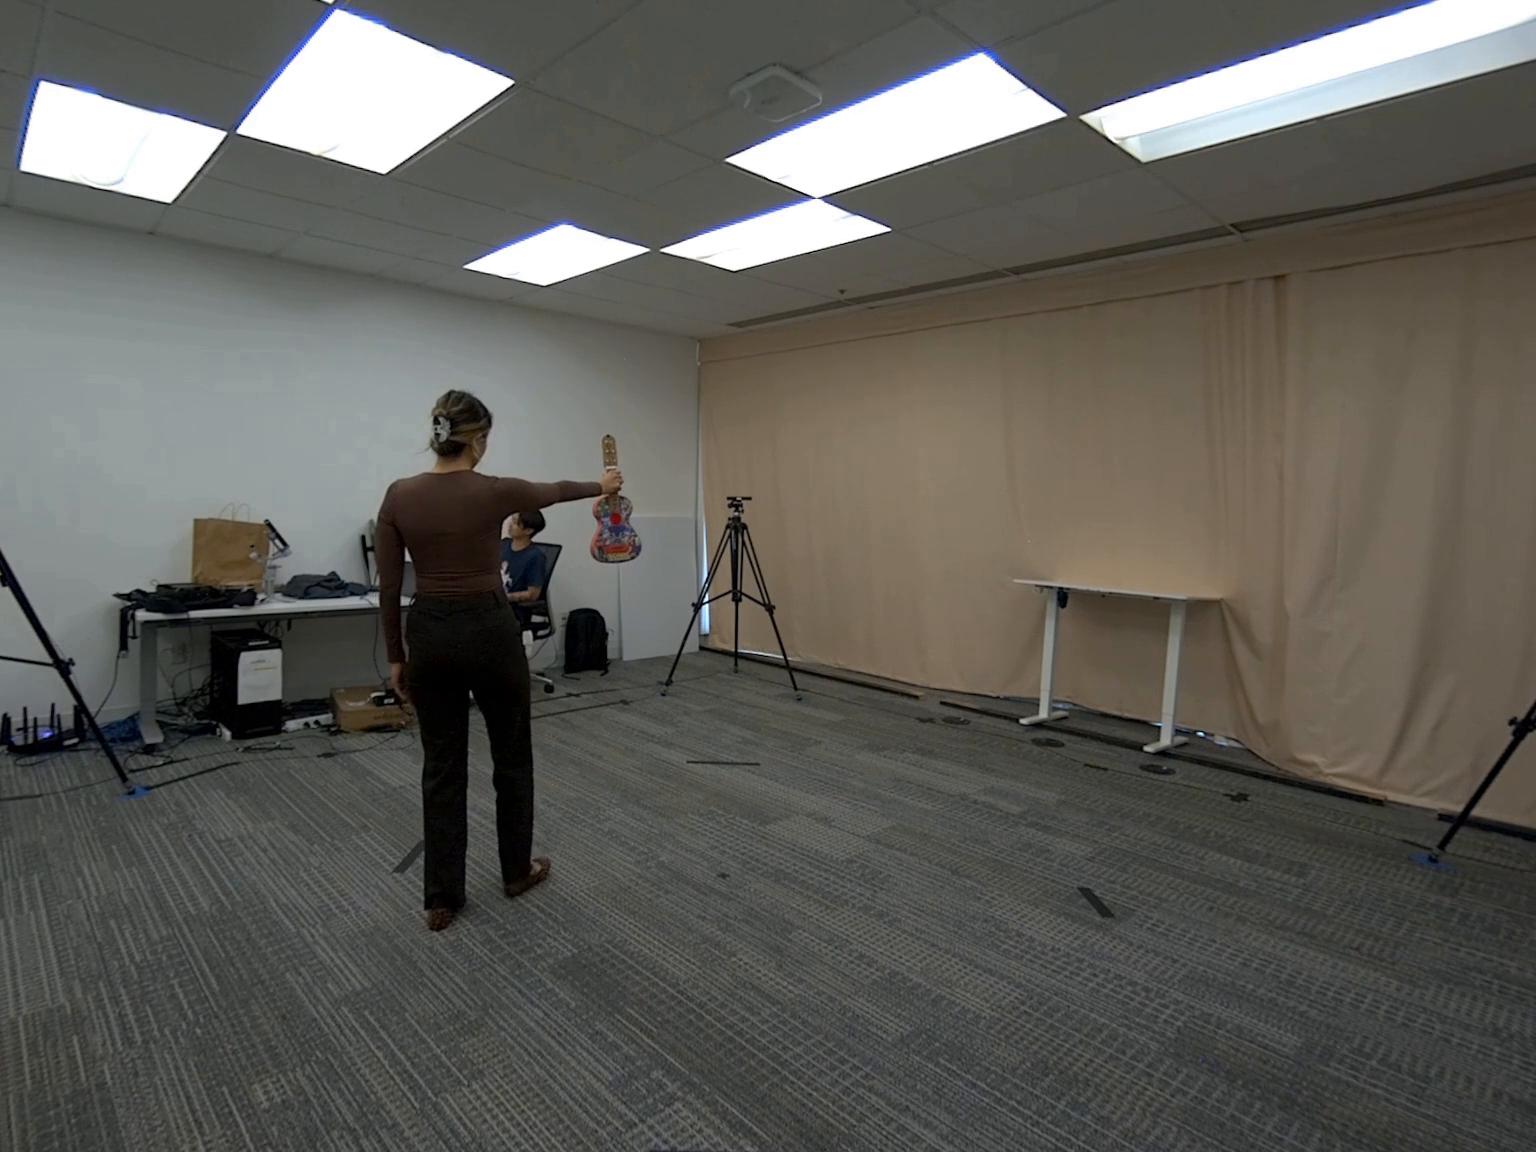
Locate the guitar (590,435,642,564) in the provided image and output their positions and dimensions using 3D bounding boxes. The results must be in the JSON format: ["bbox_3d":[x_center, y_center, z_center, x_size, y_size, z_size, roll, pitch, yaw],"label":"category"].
[{"bbox_3d":[-0.589,-0.293,3.306,0.190,0.498,0.072,6,-1,-20],"label":"guitar"}]
